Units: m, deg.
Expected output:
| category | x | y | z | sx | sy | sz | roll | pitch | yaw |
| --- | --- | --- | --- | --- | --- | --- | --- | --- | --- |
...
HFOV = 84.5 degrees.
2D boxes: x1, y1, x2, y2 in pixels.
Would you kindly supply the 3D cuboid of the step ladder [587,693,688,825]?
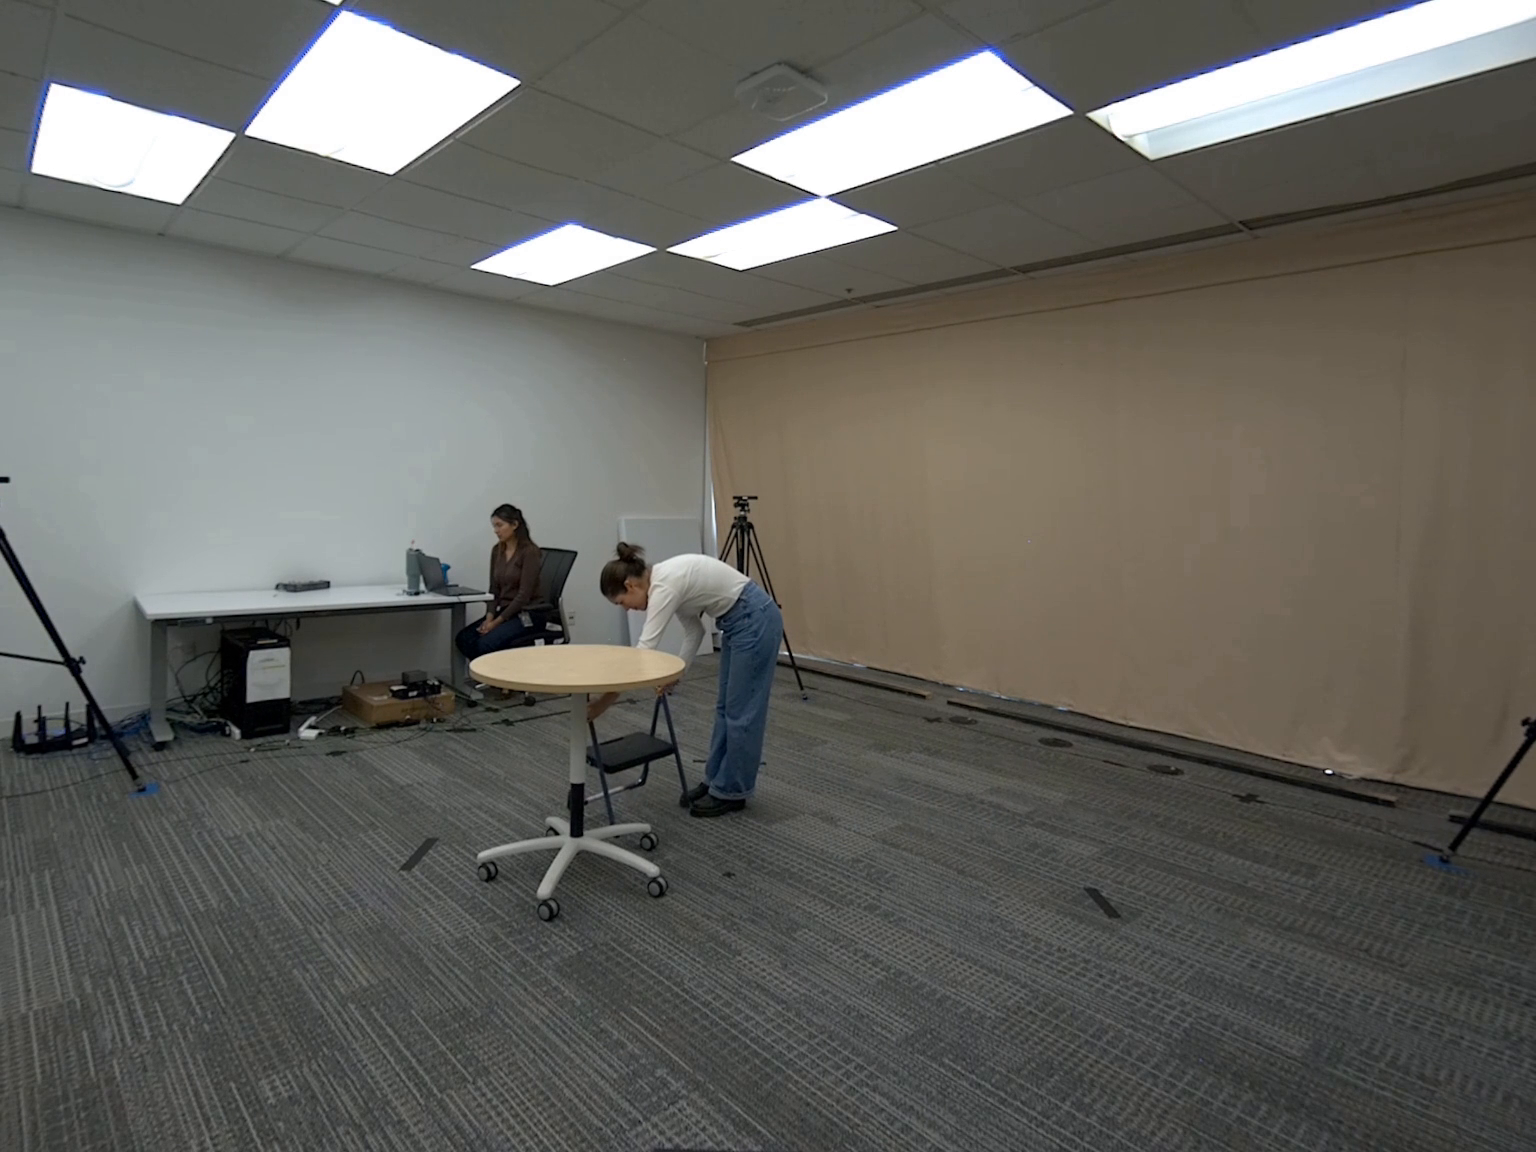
| category | x | y | z | sx | sy | sz | roll | pitch | yaw |
| --- | --- | --- | --- | --- | --- | --- | --- | --- | --- |
| step ladder | -0.579 | 0.684 | 3.536 | 0.358 | 0.602 | 0.422 | 8 | 11 | 42 |
